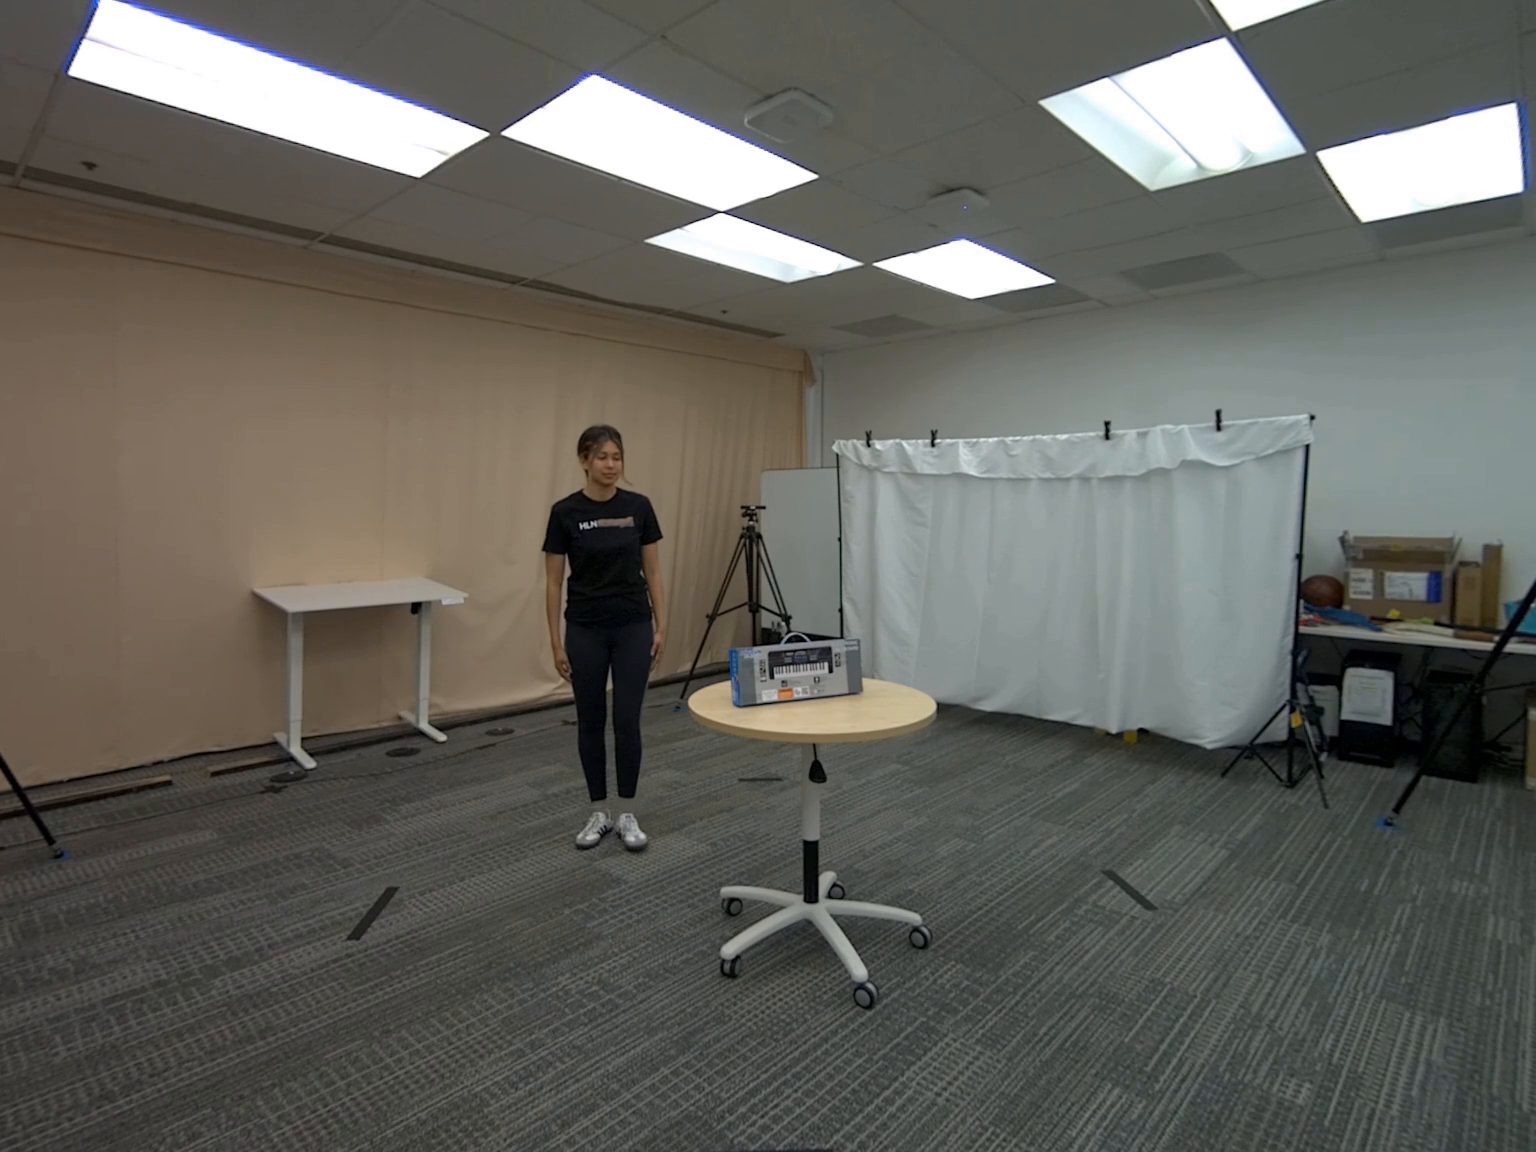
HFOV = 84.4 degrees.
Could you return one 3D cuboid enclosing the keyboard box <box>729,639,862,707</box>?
[{"bbox_3d":[0.100,0.301,2.647,0.427,0.176,0.060,-3,-4,-22],"label":"keyboard box"}]
